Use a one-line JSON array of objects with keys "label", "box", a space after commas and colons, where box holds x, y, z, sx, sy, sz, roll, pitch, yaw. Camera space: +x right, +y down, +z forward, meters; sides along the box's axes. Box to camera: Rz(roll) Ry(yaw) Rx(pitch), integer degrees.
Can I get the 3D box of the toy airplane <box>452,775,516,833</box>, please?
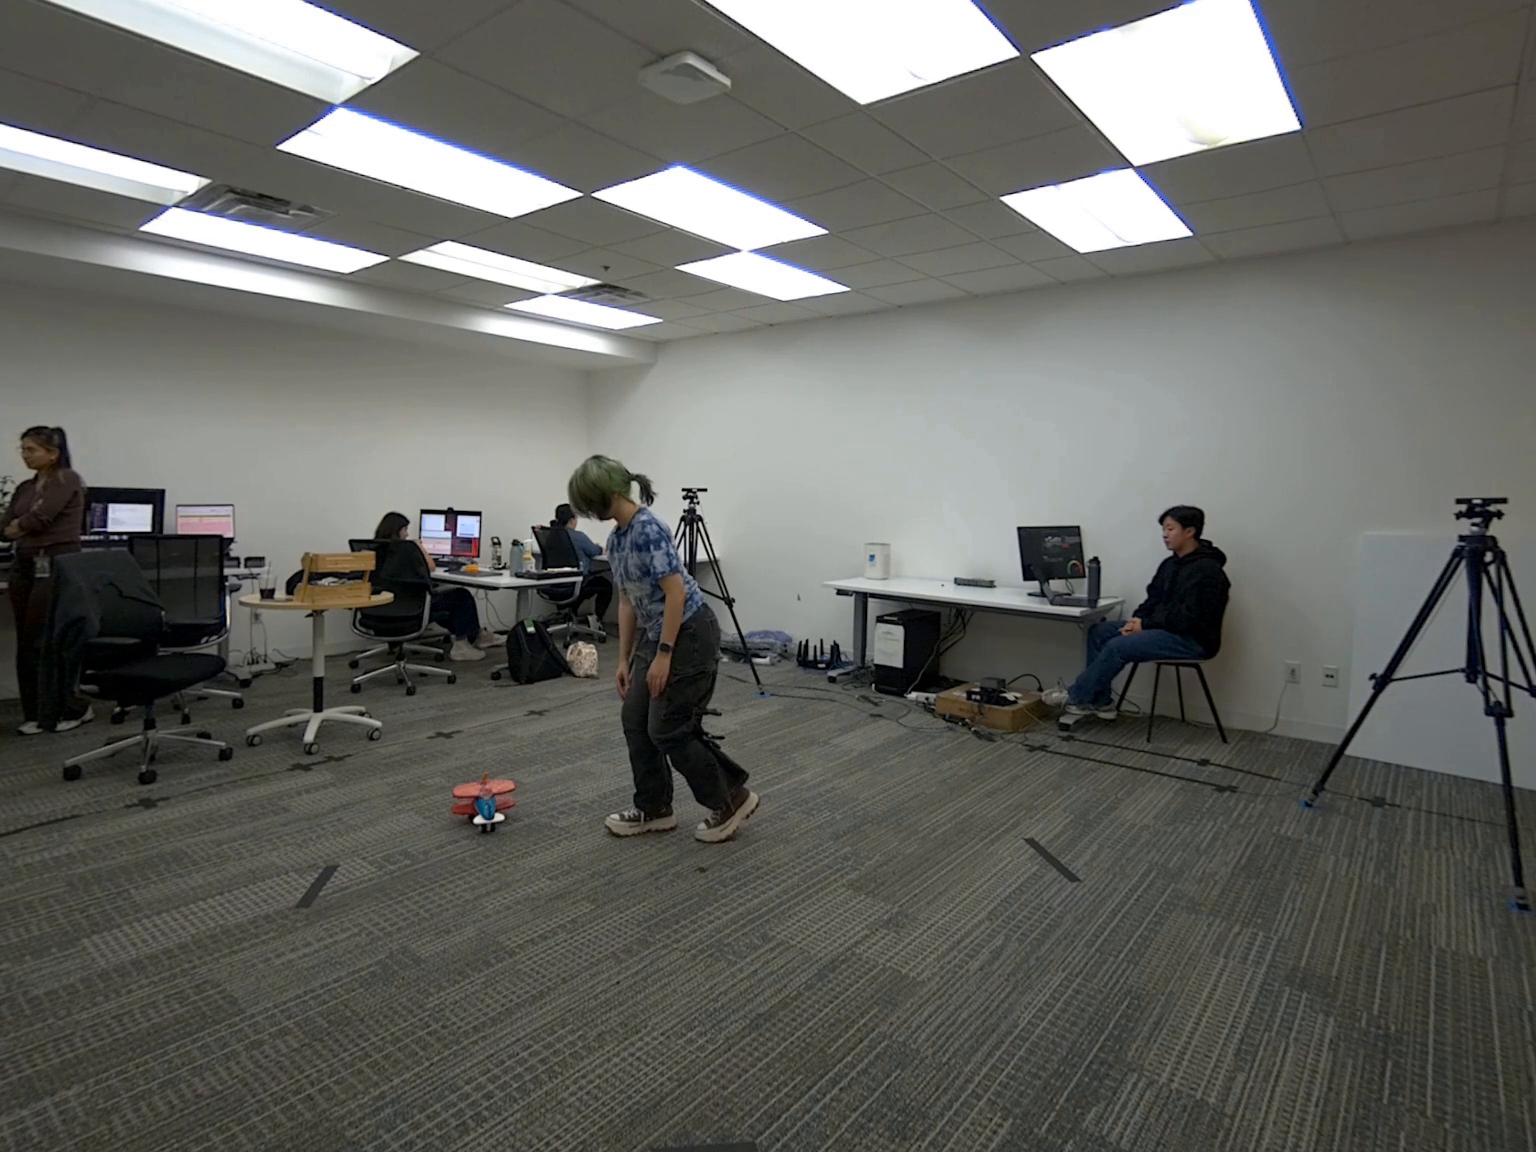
[{"label": "toy airplane", "box": [-1.169, 0.947, 3.510, 0.267, 0.156, 0.244, 3, 5, 37]}]
